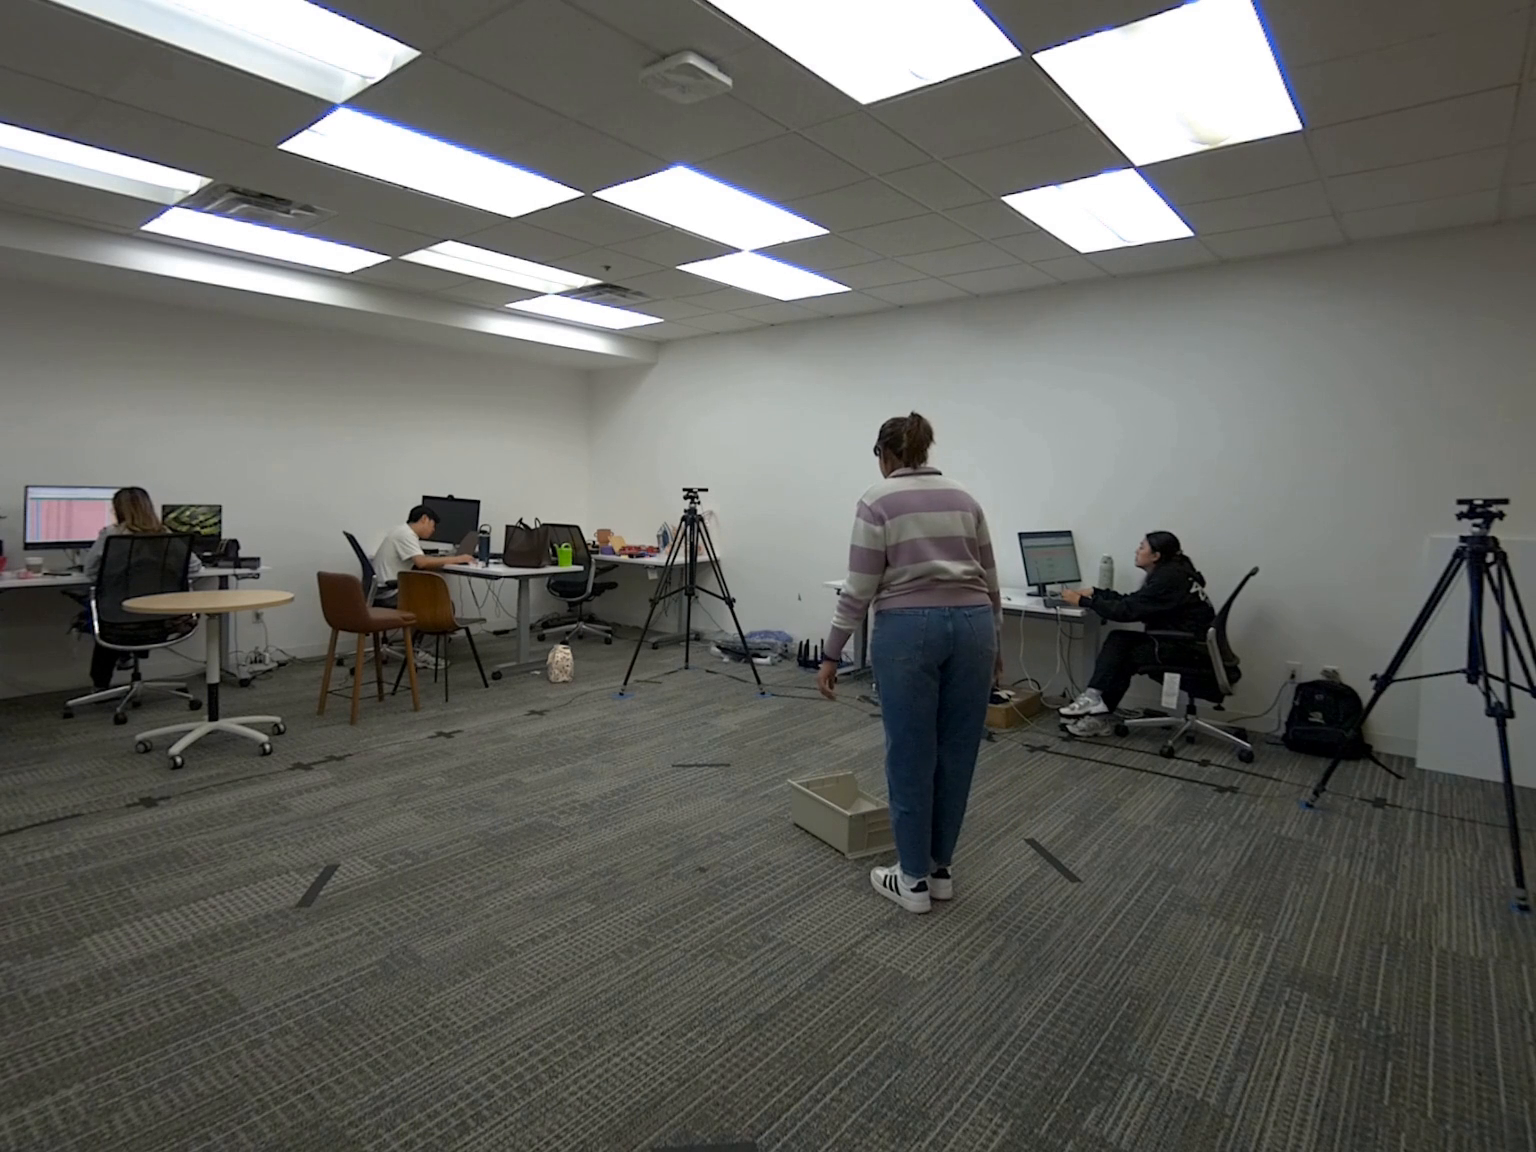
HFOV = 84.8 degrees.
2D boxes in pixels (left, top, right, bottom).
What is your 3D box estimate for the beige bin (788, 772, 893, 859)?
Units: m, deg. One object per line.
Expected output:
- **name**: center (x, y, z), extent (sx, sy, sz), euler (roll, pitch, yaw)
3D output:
- **beige bin**: center (0.341, 0.957, 3.475), extent (0.367, 0.188, 0.436), euler (-3, 7, -31)
